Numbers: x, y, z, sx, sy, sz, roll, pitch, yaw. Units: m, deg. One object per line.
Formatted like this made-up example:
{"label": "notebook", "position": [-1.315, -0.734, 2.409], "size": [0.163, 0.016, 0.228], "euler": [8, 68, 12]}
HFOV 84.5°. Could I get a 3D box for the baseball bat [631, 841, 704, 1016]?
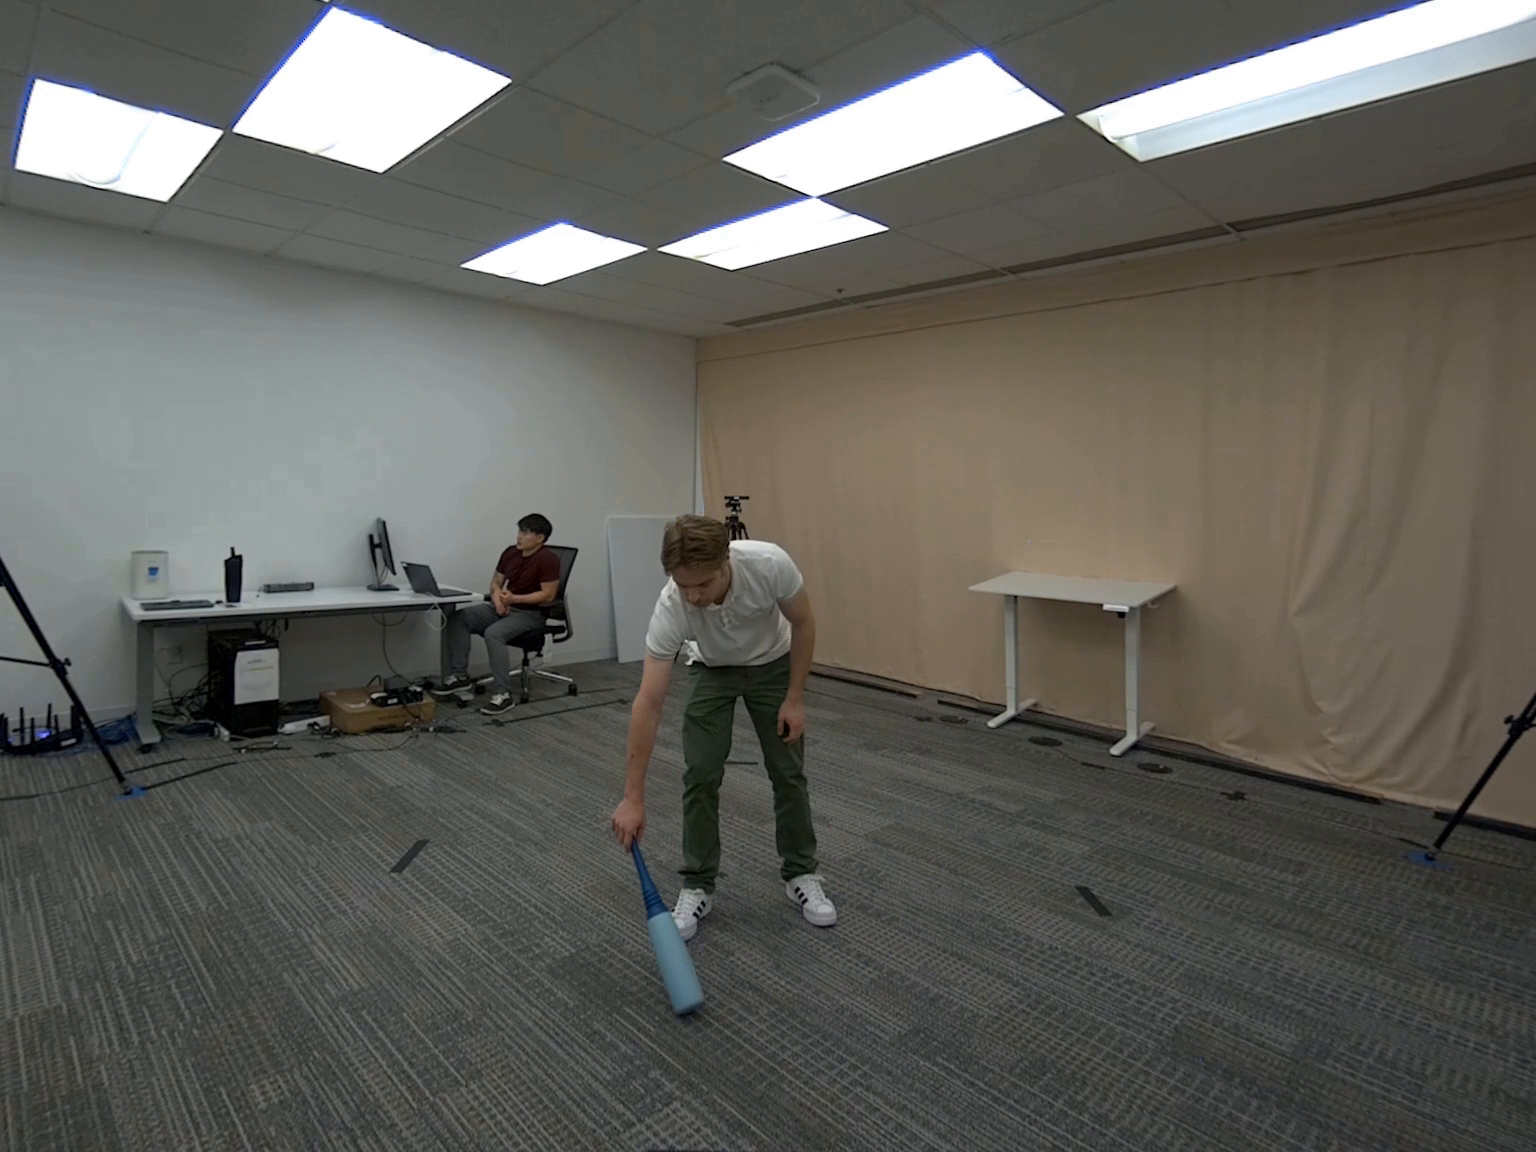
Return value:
{"label": "baseball bat", "position": [-0.321, 0.951, 2.385], "size": [0.088, 0.558, 0.087], "euler": [-20, -31, -14]}
